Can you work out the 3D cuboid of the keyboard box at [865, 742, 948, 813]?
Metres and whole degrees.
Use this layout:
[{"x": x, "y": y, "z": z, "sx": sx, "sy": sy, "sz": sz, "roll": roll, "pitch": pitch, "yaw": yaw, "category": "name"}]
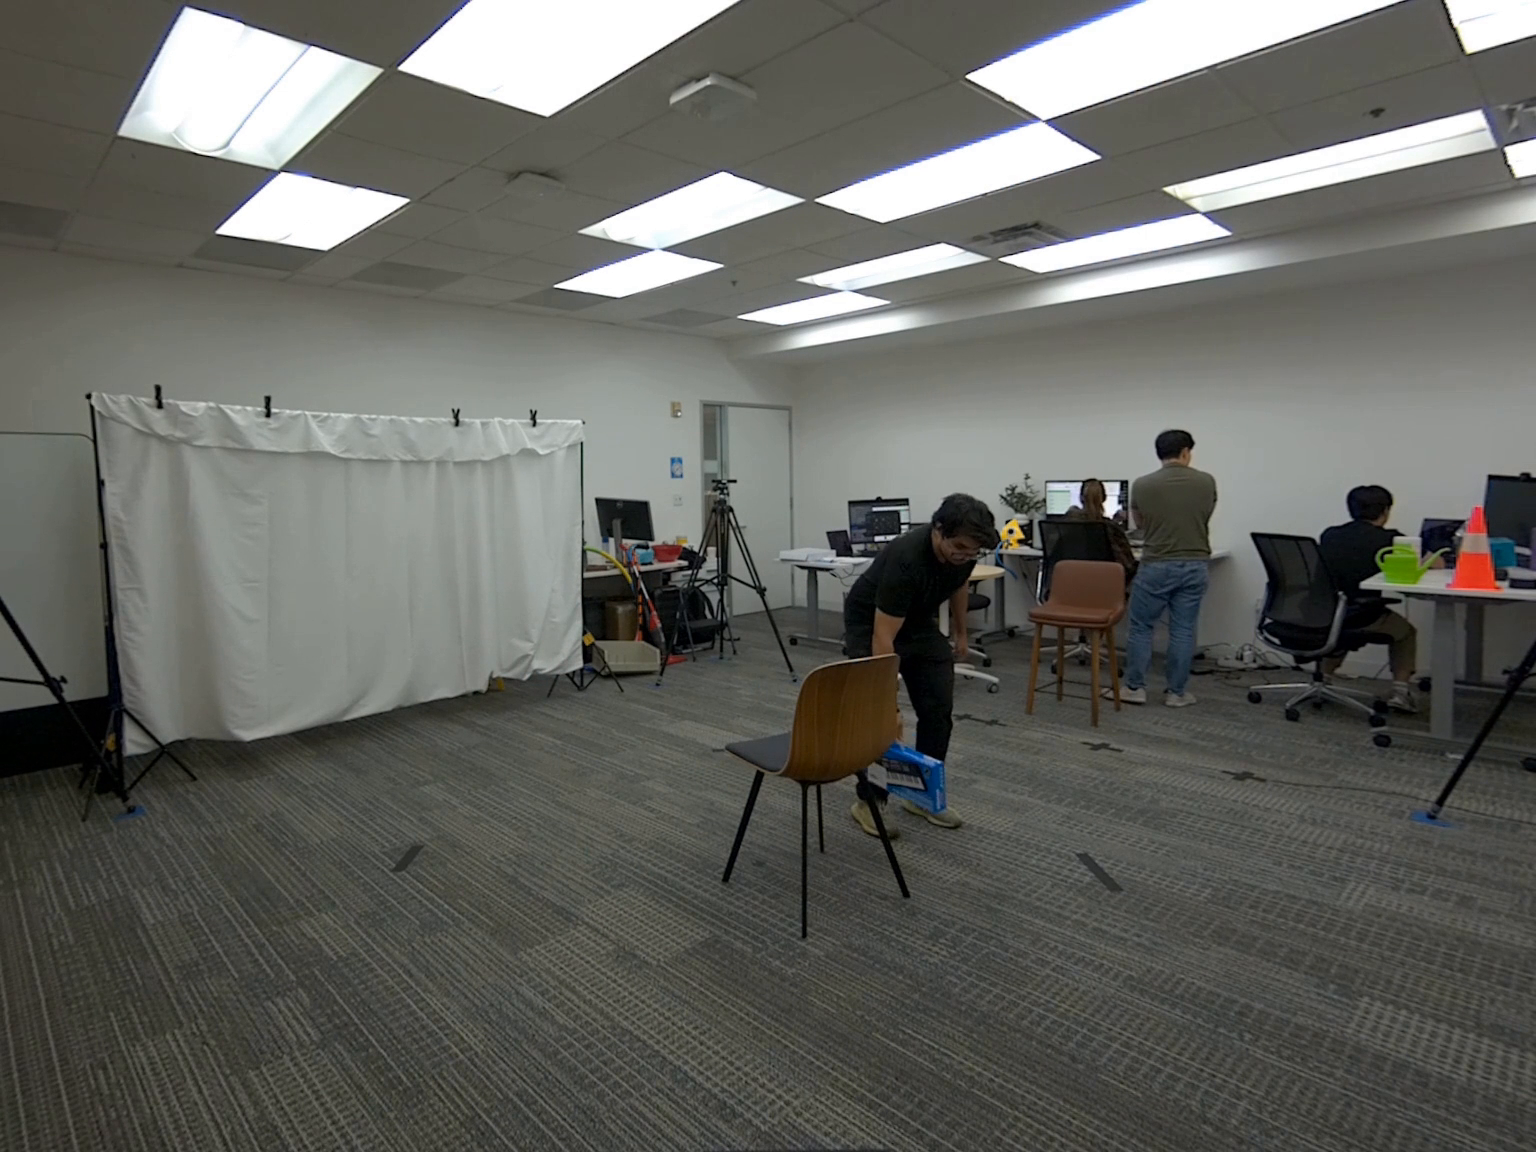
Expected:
[{"x": 0.465, "y": 0.718, "z": 3.141, "sx": 0.058, "sy": 0.174, "sz": 0.450, "roll": -8, "pitch": 10, "yaw": -31, "category": "keyboard box"}]
